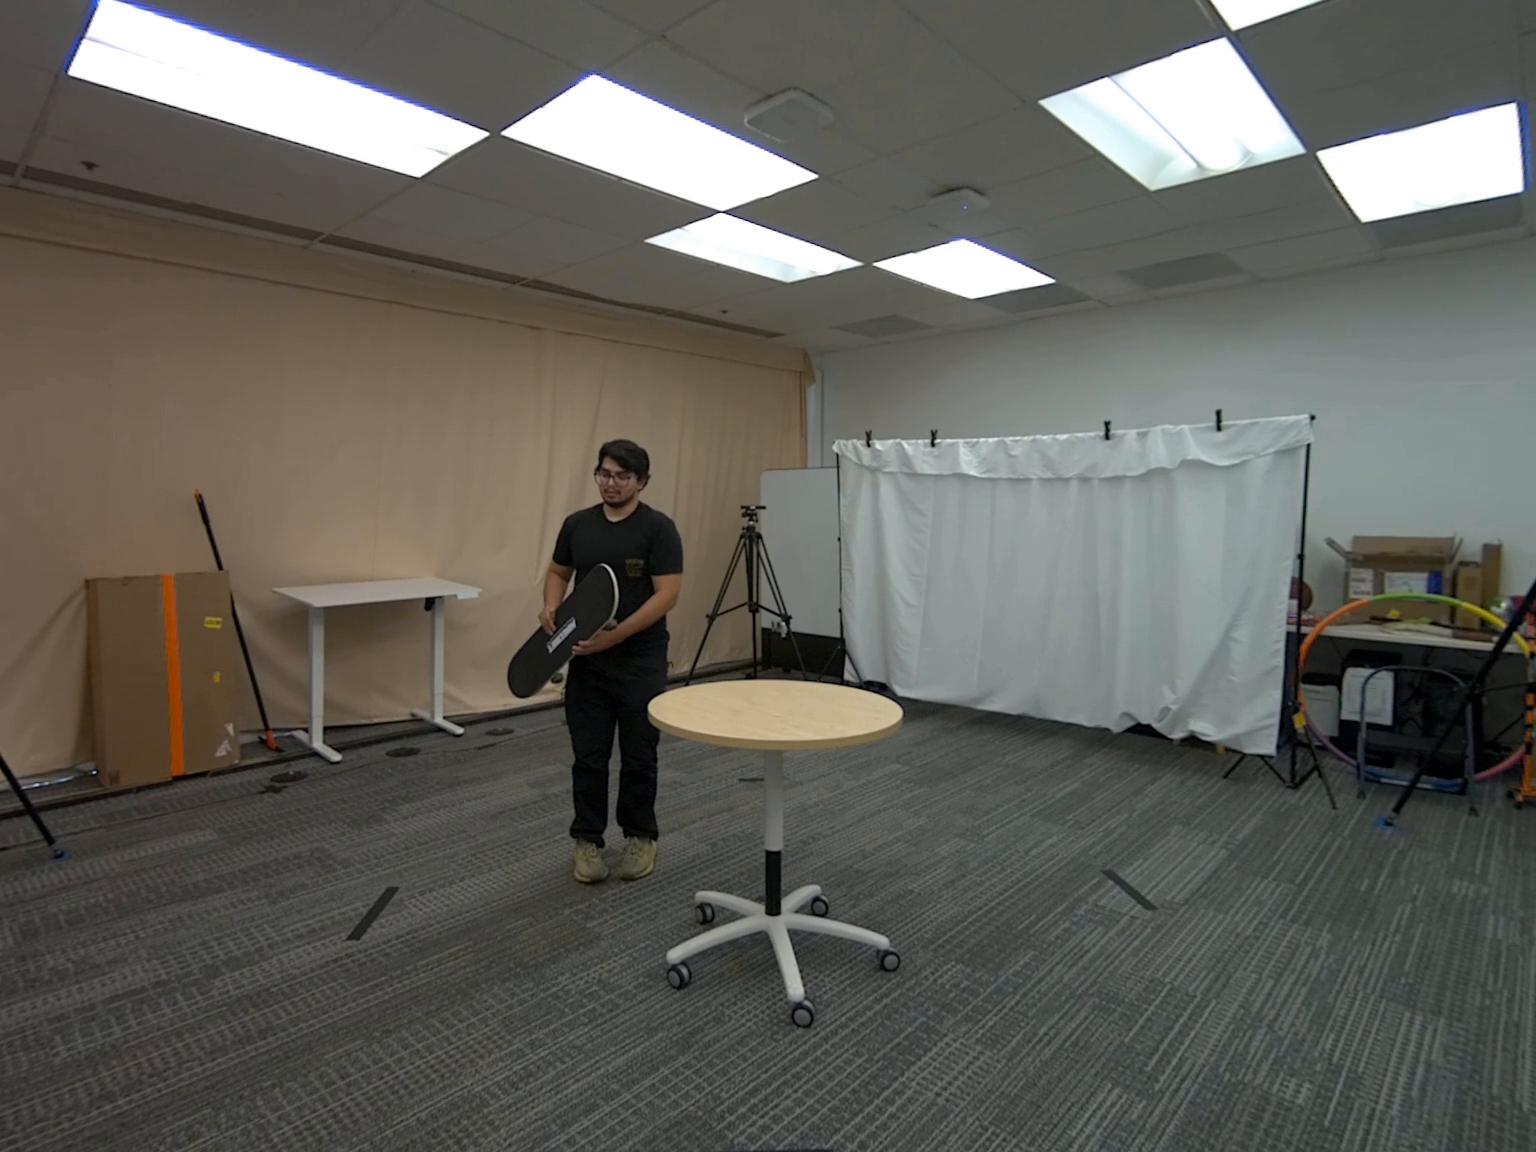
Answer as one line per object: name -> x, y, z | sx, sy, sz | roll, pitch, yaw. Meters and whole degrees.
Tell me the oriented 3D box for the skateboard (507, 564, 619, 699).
skateboard -> -0.723, 0.216, 3.038 | 0.107, 0.198, 0.794 | 2, -33, -46
